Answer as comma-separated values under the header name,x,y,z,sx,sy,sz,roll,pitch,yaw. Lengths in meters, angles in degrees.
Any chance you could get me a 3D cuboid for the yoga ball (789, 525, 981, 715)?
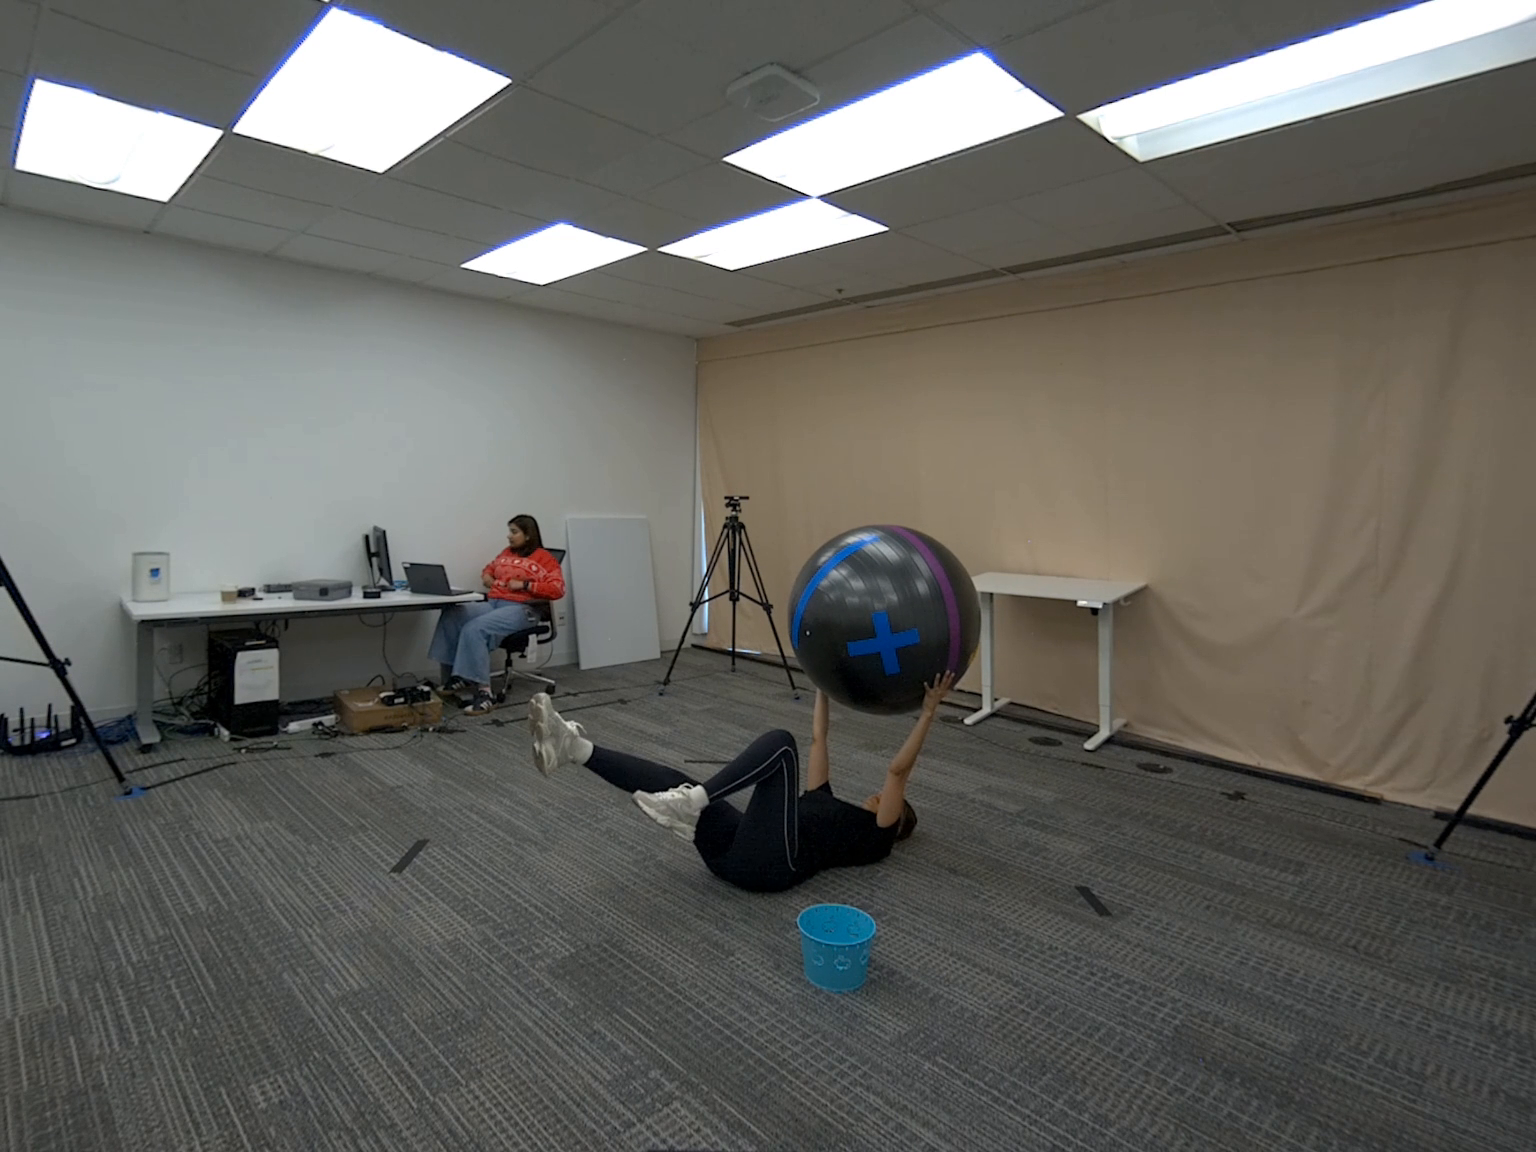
name,x,y,z,sx,sy,sz,roll,pitch,yaw
yoga ball,0.454,0.173,3.362,0.757,0.754,0.762,0,7,-1
